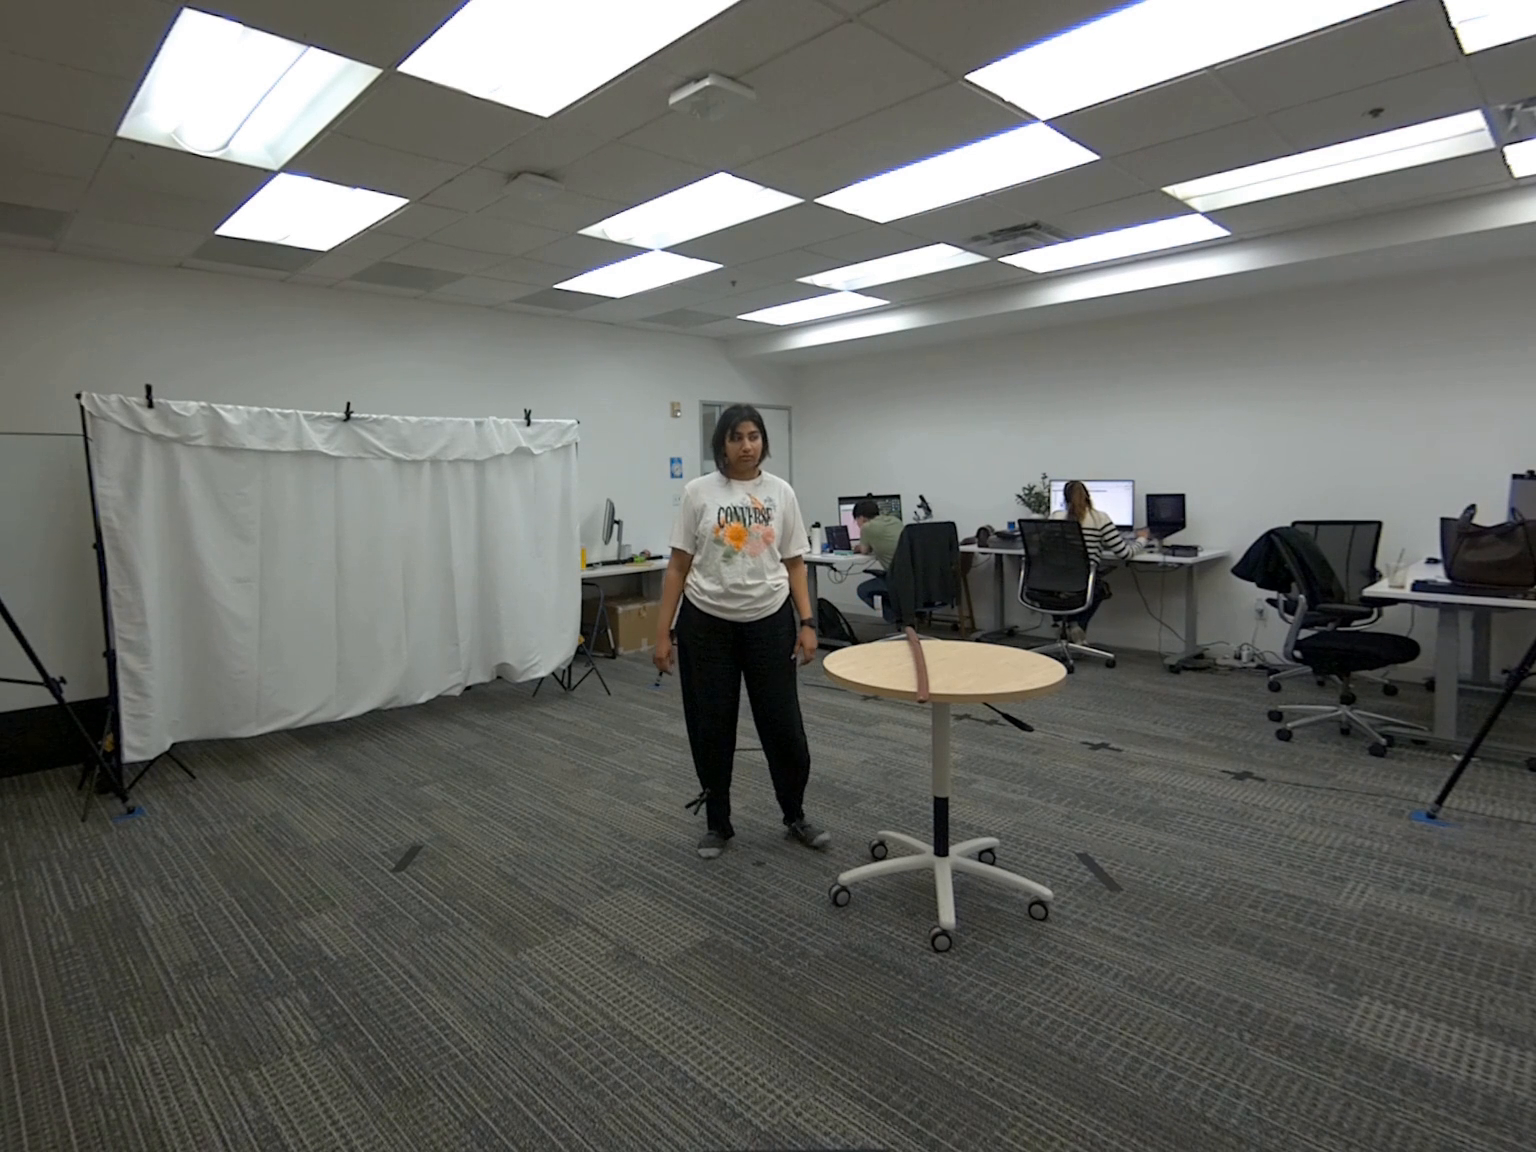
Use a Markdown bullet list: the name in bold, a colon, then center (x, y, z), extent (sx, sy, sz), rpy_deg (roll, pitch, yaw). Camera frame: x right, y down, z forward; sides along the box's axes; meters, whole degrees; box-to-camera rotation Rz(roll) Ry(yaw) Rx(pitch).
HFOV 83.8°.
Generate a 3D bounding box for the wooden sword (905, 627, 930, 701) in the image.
- **wooden sword**: center (0.475, 0.244, 2.886), extent (0.052, 0.024, 1.022), rpy_deg (-5, 7, 8)
